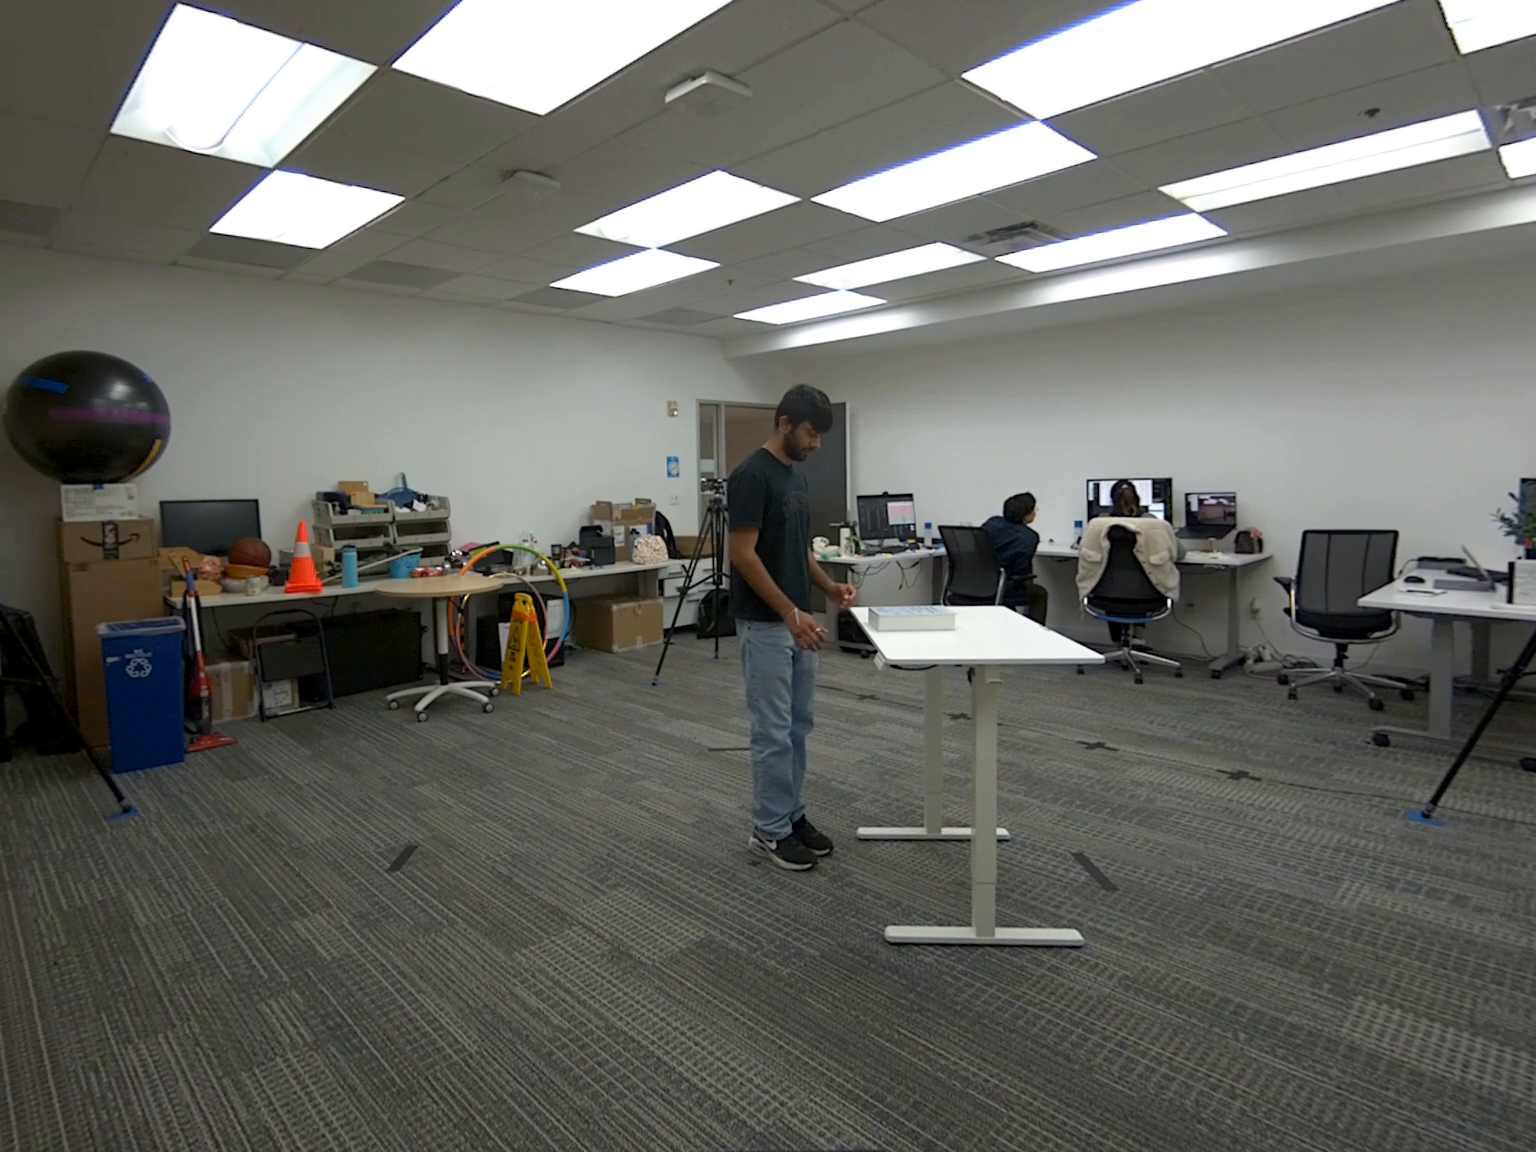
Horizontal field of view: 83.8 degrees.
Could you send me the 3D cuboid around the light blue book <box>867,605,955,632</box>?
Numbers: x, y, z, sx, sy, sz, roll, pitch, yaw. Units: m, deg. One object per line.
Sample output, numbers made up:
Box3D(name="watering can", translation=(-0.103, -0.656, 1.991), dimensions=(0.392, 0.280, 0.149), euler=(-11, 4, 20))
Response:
Box3D(name="light blue book", translation=(0.490, 0.145, 2.920), dimensions=(0.261, 0.059, 0.192), euler=(-1, 5, -1))
